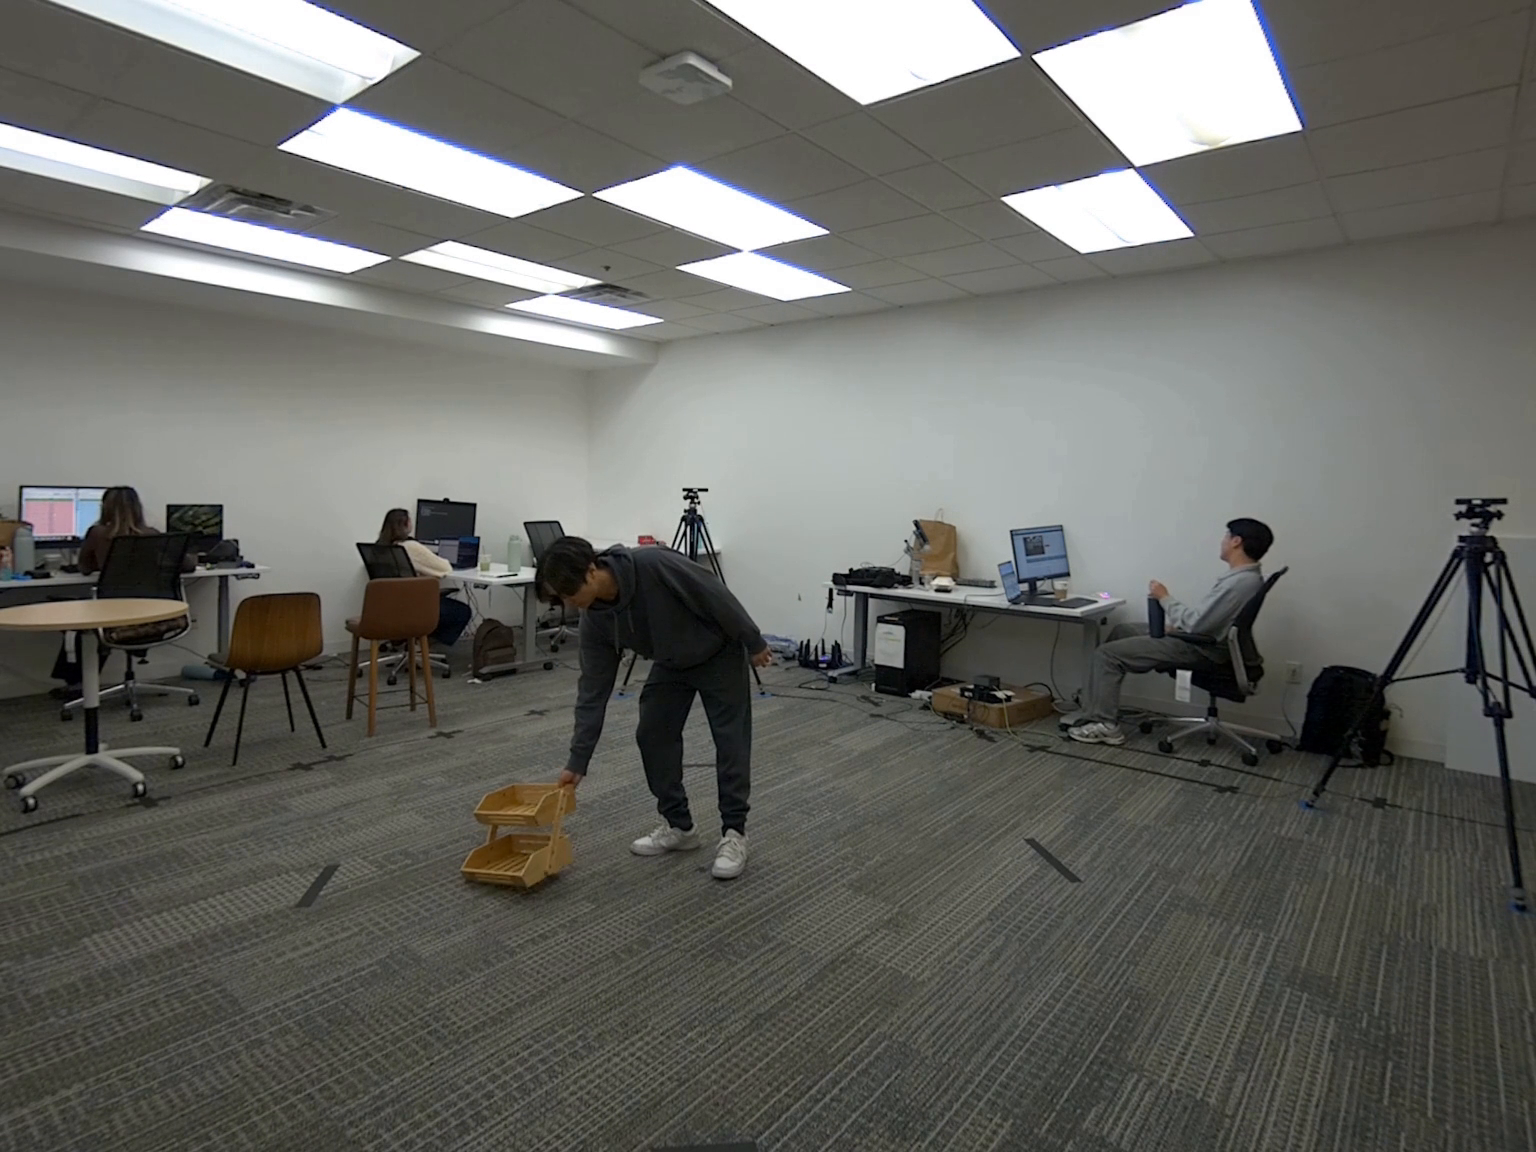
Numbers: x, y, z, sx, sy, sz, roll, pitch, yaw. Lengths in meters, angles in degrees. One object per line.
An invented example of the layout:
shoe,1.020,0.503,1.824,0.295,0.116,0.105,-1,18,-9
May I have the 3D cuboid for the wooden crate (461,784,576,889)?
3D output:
wooden crate,-0.903,0.911,3.020,0.332,0.274,0.294,-8,-1,30
